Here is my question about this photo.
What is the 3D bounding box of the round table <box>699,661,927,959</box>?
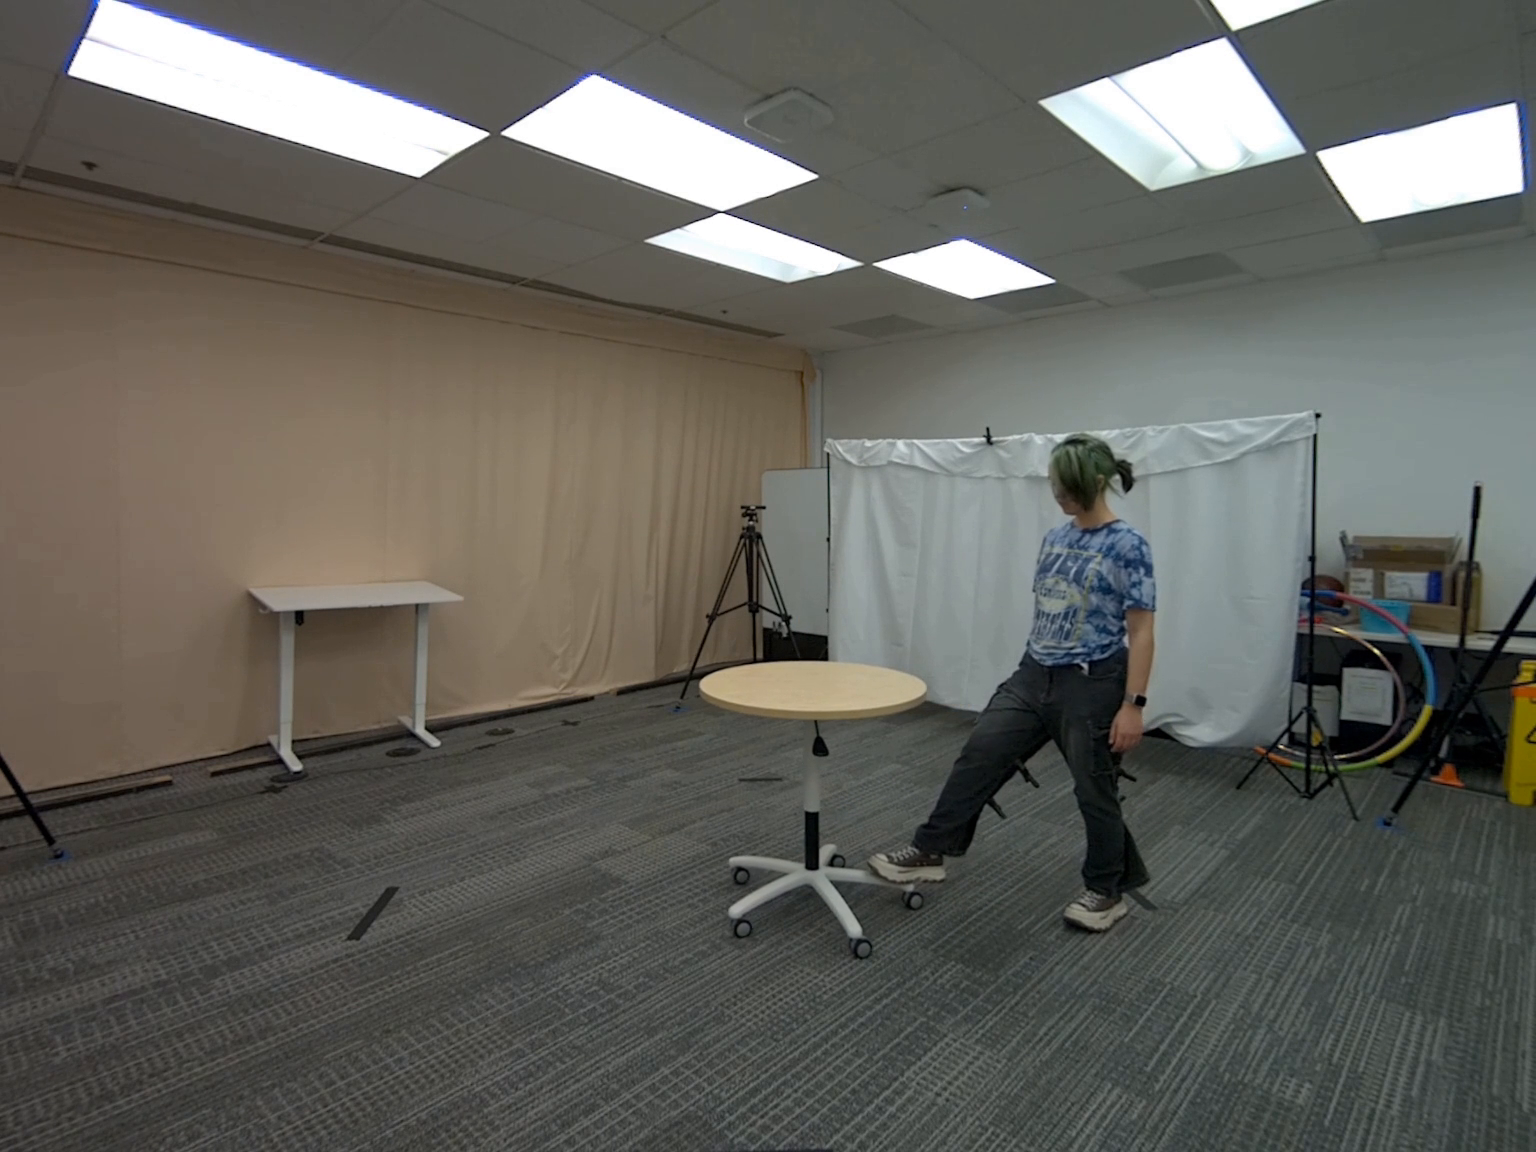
[{"bbox_3d":[0.151,0.762,2.897,0.763,0.792,0.767,0,4,-2],"label":"round table"}]
